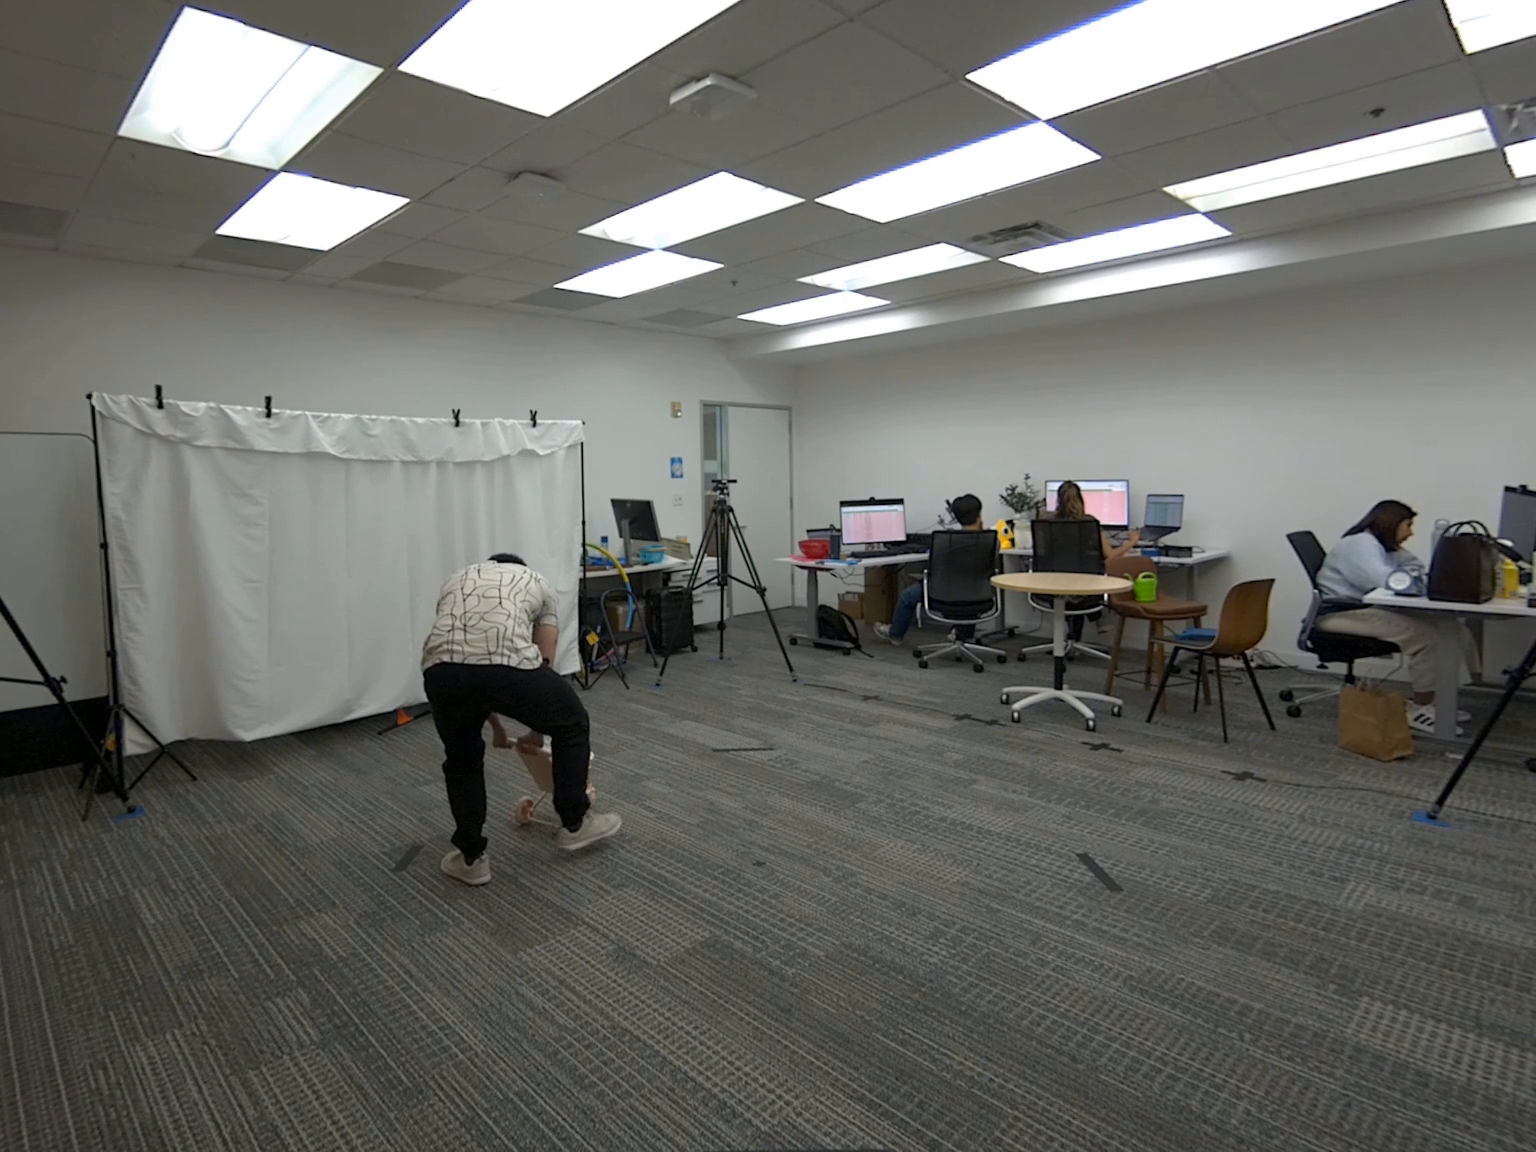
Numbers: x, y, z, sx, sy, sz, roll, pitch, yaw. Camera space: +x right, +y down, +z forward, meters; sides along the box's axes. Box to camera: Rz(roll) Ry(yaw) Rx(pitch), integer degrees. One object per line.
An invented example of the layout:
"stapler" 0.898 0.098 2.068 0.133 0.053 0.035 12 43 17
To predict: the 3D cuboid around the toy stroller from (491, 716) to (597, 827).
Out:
"toy stroller" -0.863 0.800 3.507 0.289 0.525 0.338 2 22 33
